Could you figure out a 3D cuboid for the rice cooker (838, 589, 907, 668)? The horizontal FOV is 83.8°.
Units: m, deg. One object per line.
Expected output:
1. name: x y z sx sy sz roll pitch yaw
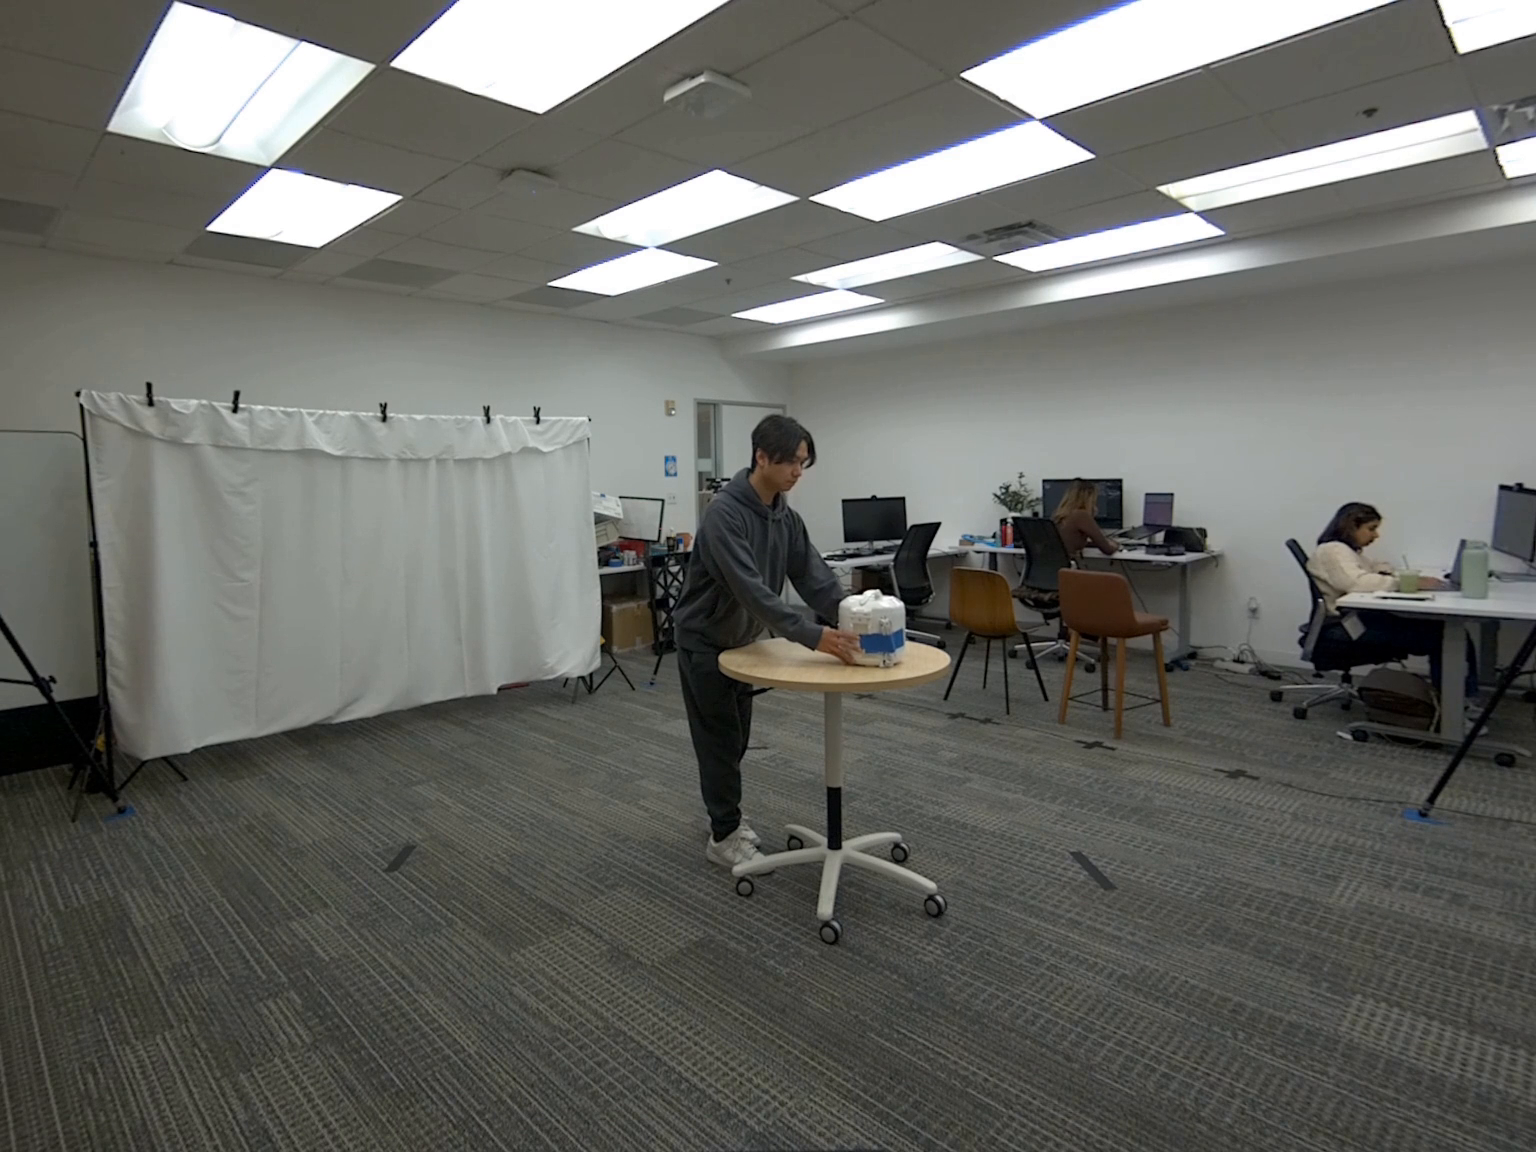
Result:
1. rice cooker: 0.329 0.162 2.752 0.222 0.232 0.216 2 6 25
